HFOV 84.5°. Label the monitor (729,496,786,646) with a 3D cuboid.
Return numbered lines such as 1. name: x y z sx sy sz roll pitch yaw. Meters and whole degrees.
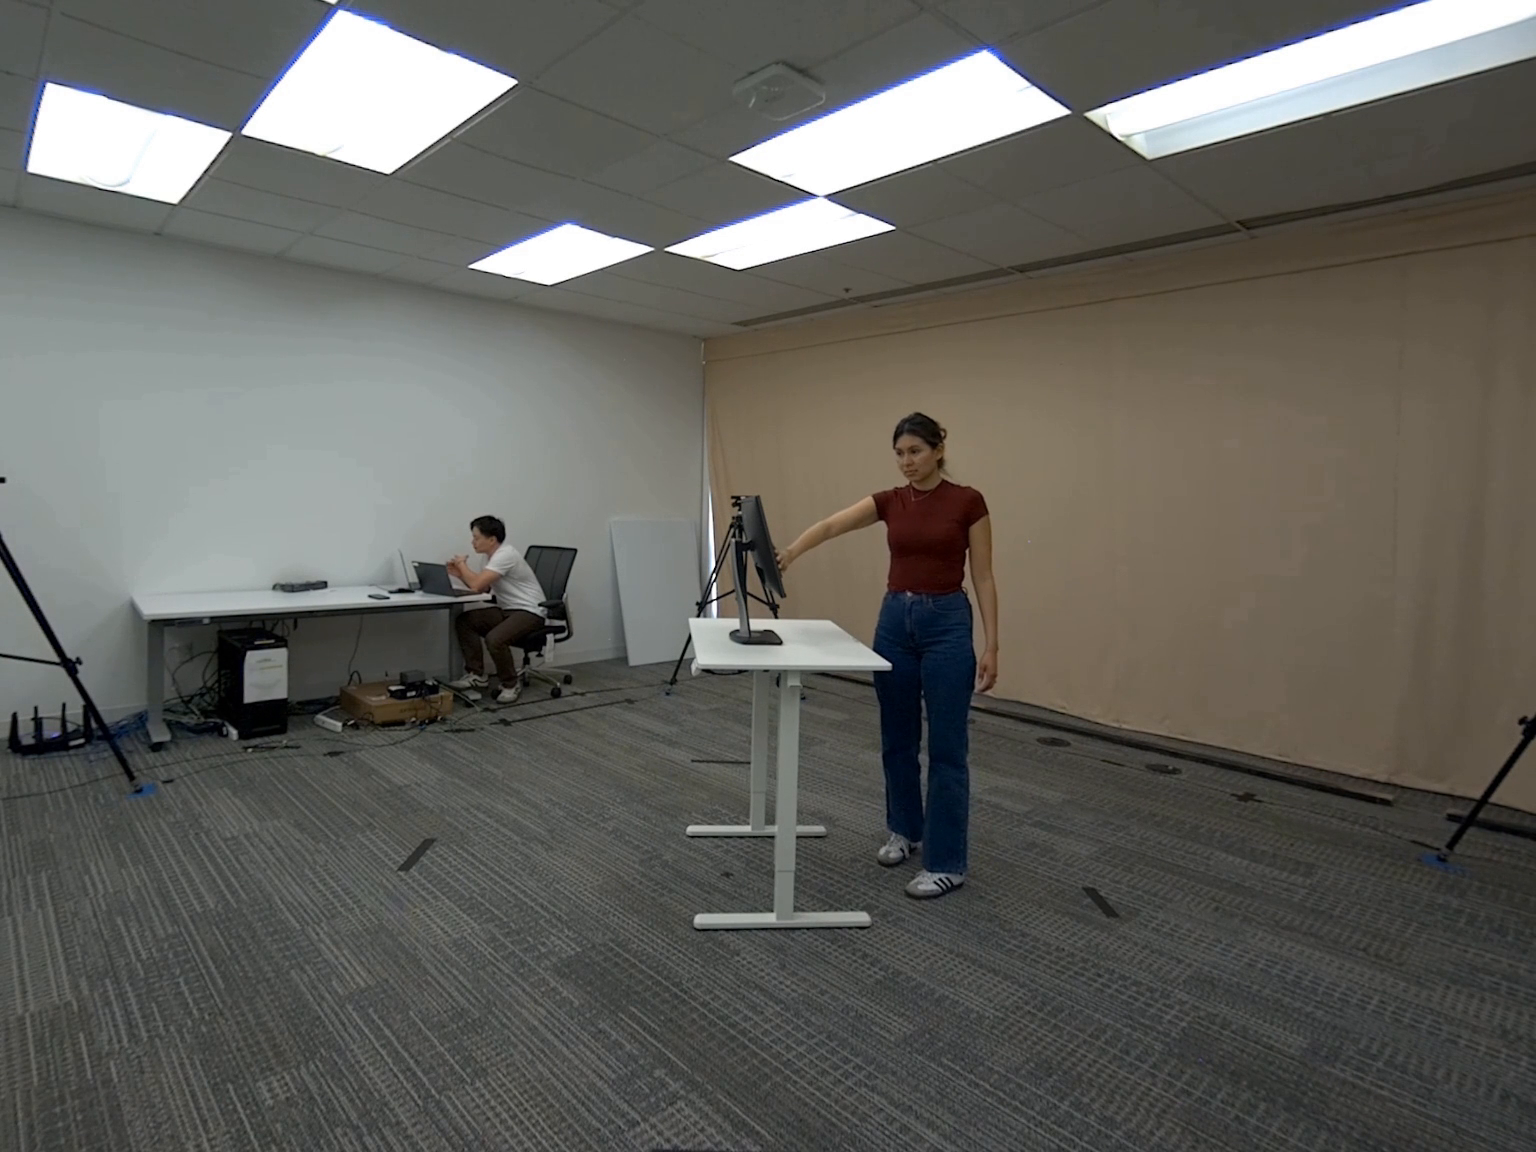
1. monitor: -0.062 -0.023 3.031 0.186 0.521 0.544 0 4 -8
